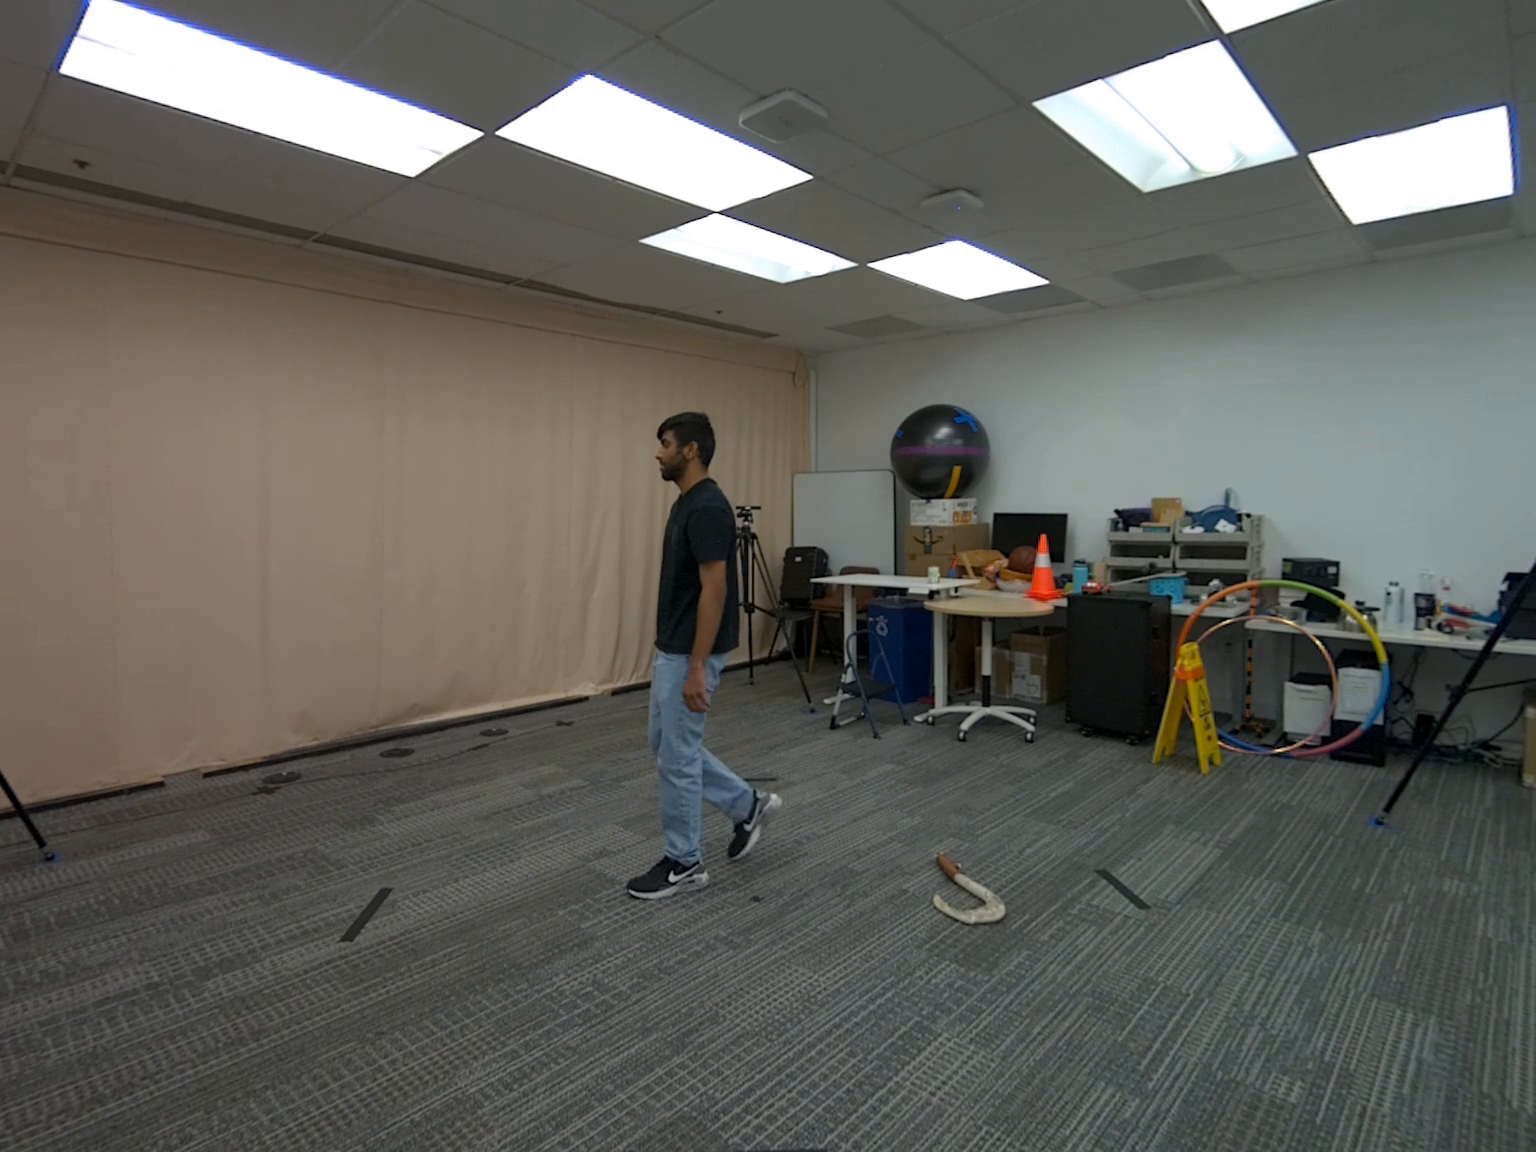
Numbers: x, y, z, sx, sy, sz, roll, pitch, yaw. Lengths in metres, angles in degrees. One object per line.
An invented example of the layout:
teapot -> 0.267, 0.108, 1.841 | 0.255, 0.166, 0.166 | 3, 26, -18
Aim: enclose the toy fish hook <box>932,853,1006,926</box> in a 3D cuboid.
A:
toy fish hook -> 0.670, 1.114, 3.034 | 0.222, 0.048, 0.512 | 0, 4, -10
